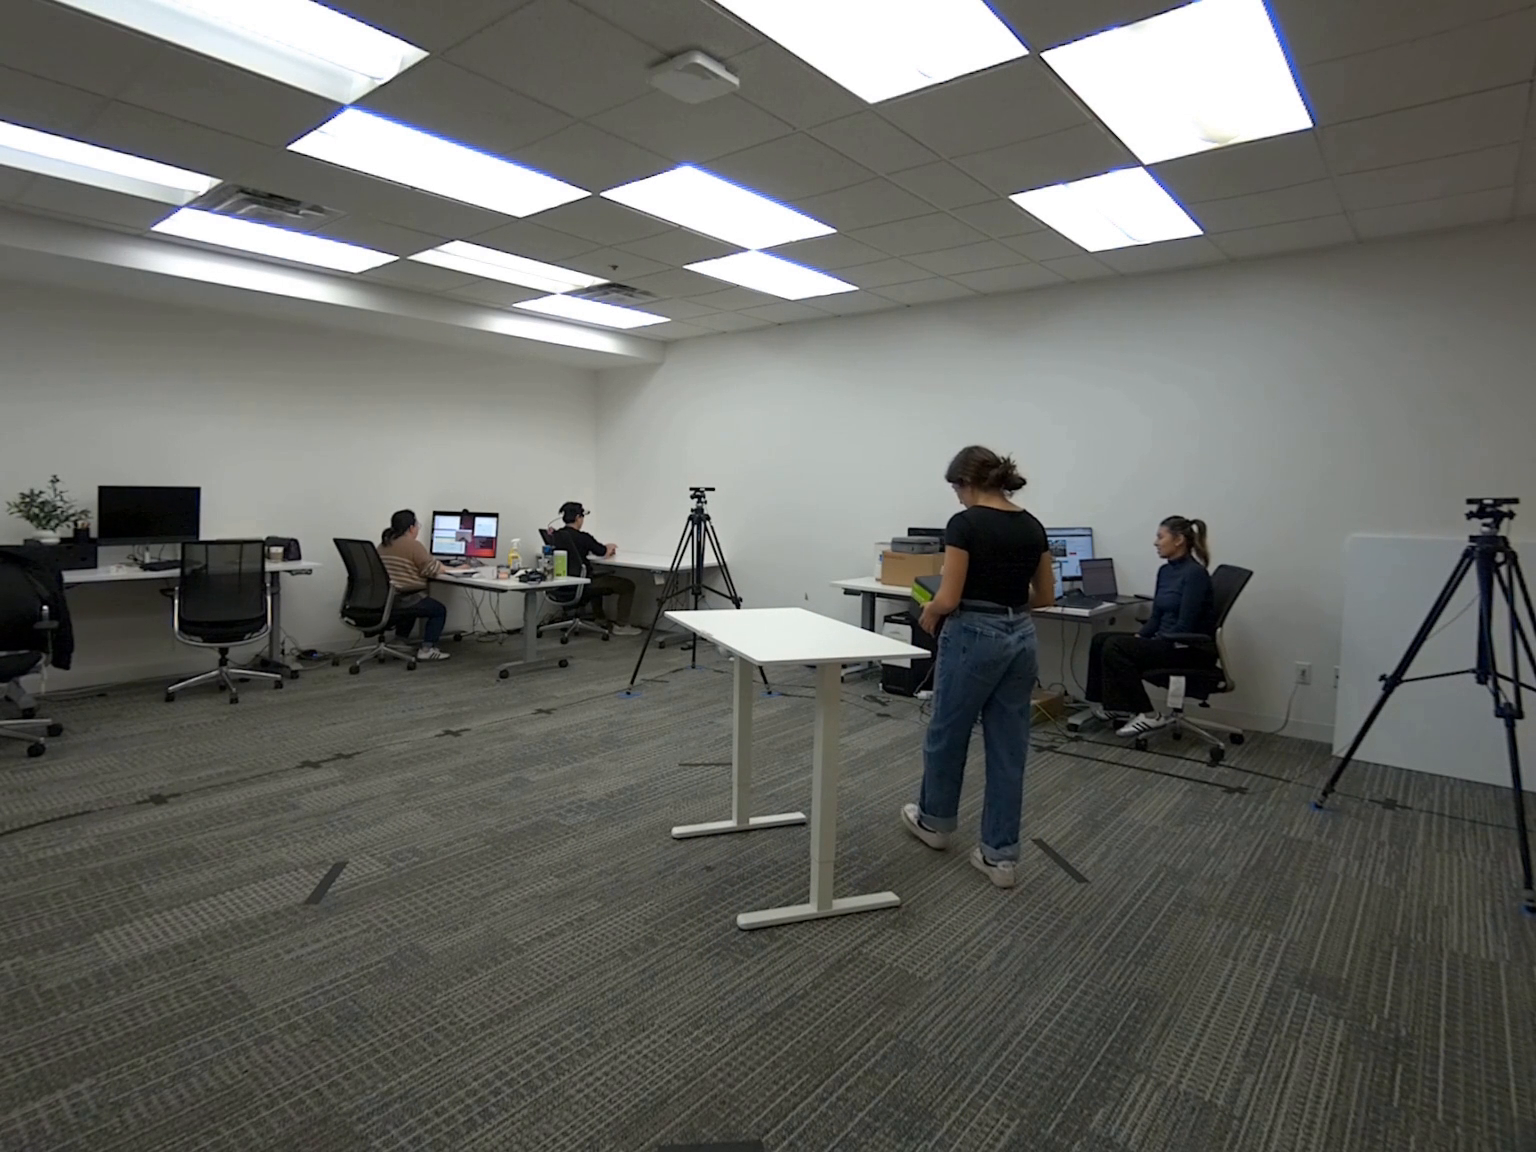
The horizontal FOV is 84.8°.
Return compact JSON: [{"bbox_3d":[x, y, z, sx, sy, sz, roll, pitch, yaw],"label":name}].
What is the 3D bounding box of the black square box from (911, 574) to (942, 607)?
[{"bbox_3d":[0.729,0.104,3.388,0.212,0.153,0.237,-4,25,-22],"label":"black square box"}]
